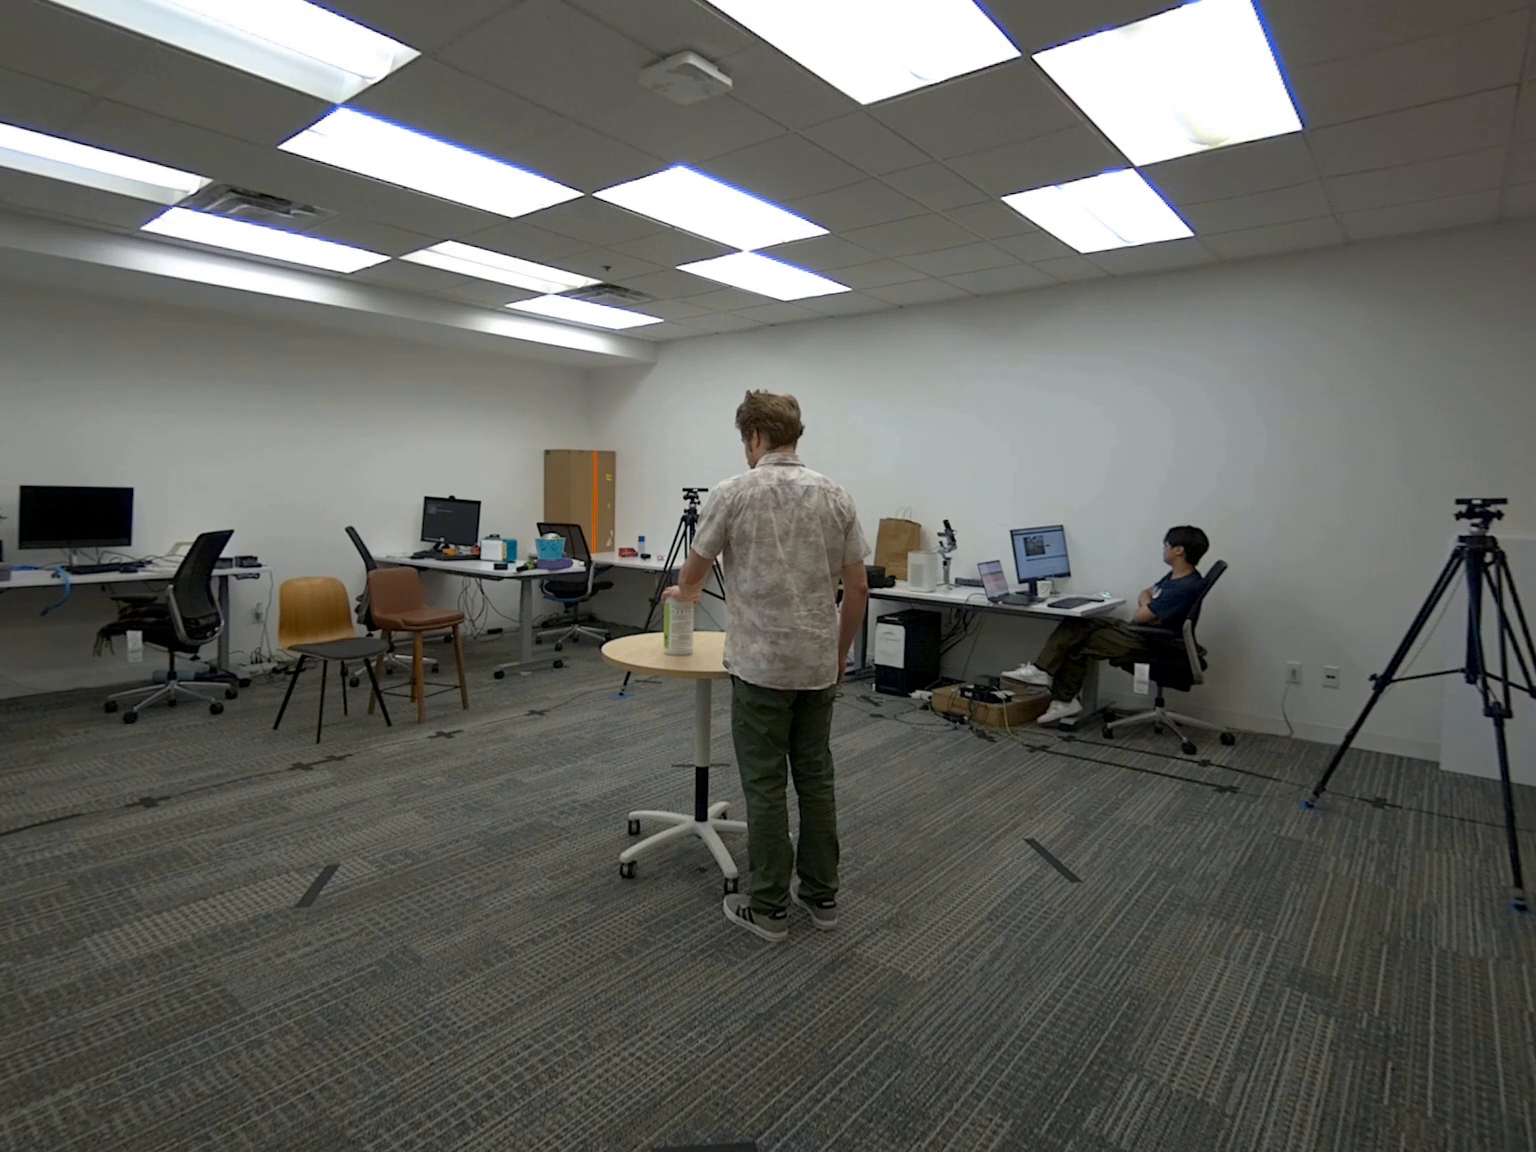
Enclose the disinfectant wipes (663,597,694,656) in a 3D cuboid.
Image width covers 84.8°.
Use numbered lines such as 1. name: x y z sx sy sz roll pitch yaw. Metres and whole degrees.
1. disinfectant wipes: -0.334 0.173 3.094 0.118 0.216 0.118 -1 4 -2
